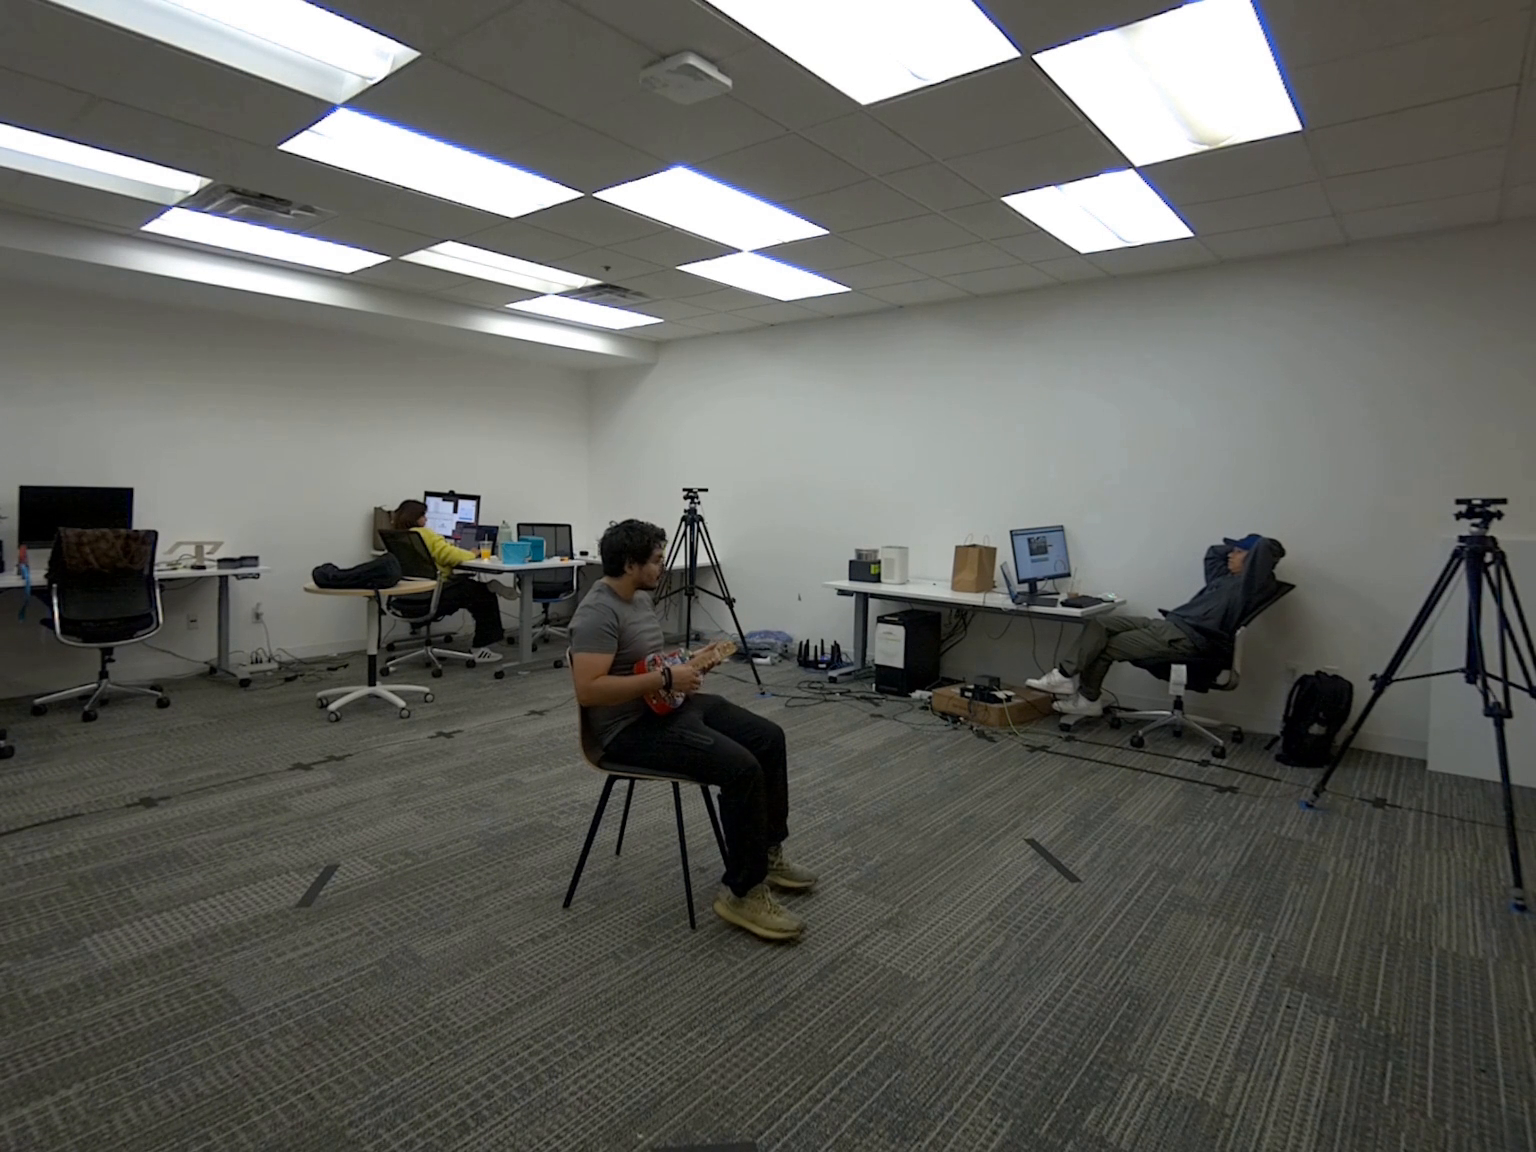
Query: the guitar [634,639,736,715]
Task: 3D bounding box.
[{"bbox_3d":[-0.257,0.334,2.924,0.071,0.197,0.484,-38,-17,31],"label":"guitar"}]
